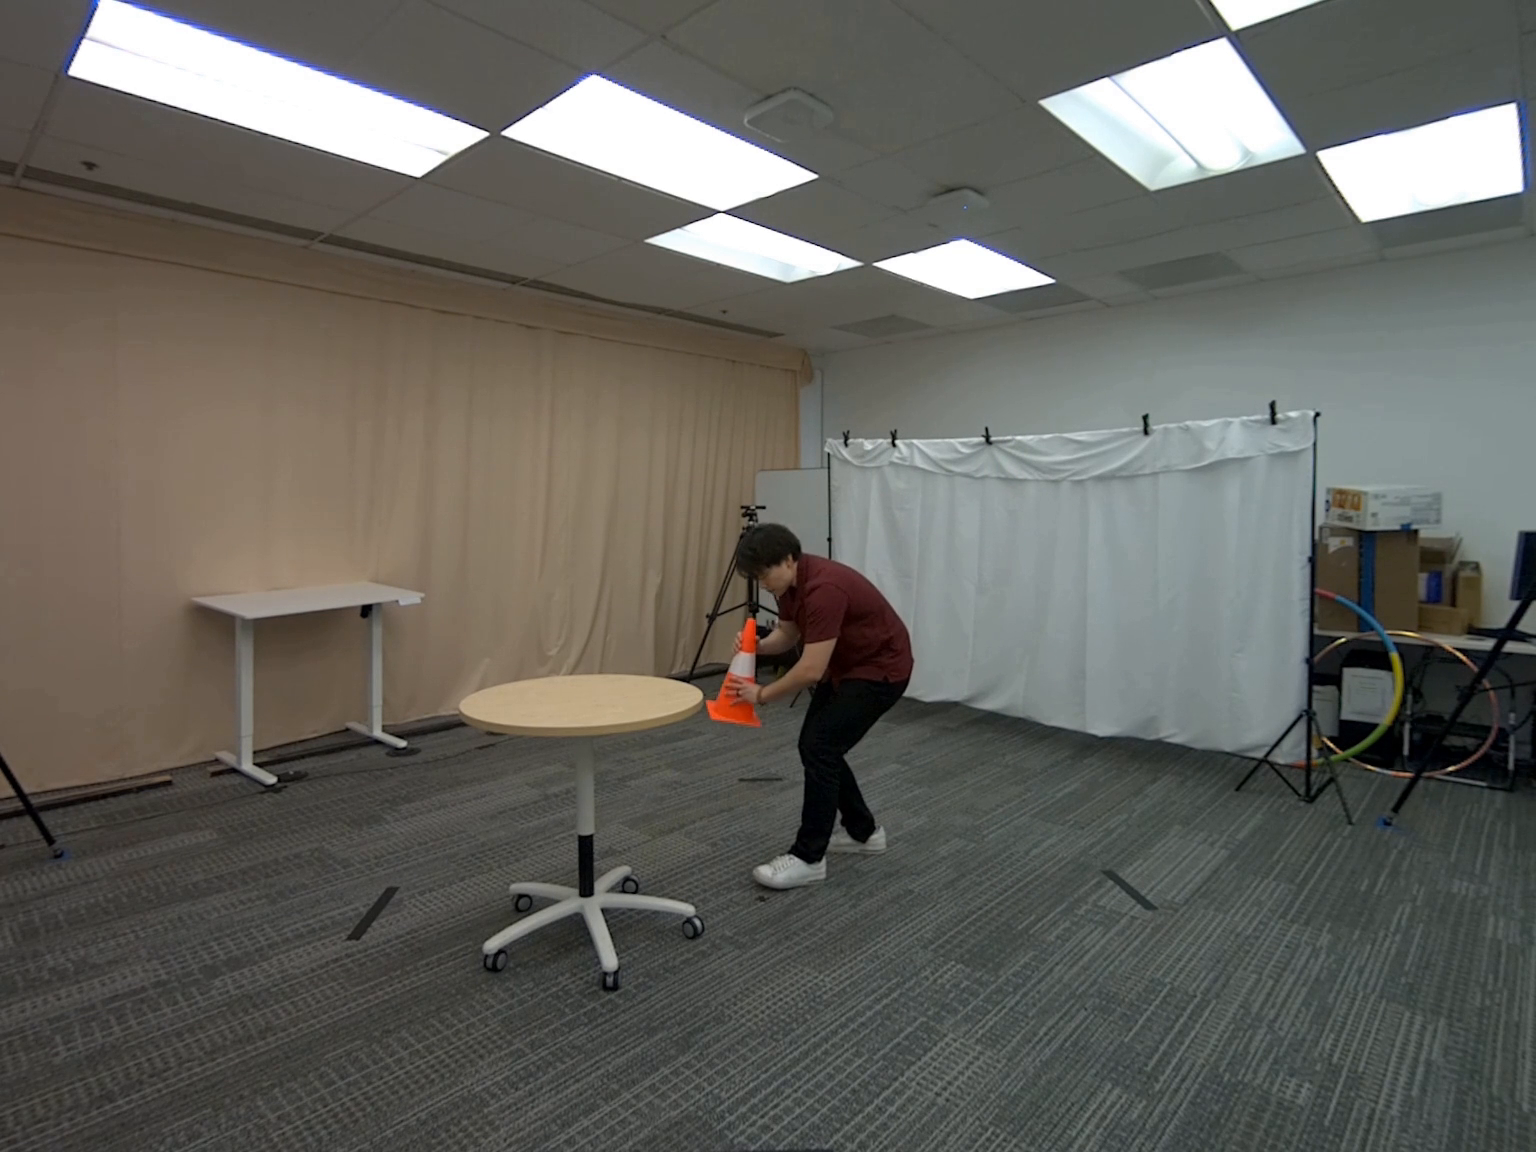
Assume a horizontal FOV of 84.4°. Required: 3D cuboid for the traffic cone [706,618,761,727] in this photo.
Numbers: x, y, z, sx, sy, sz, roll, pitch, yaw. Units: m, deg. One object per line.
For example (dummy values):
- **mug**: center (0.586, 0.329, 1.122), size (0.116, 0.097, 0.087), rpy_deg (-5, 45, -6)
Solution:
- **traffic cone**: center (-0.089, 0.358, 3.254), size (0.201, 0.382, 0.208), rpy_deg (10, 7, -12)
